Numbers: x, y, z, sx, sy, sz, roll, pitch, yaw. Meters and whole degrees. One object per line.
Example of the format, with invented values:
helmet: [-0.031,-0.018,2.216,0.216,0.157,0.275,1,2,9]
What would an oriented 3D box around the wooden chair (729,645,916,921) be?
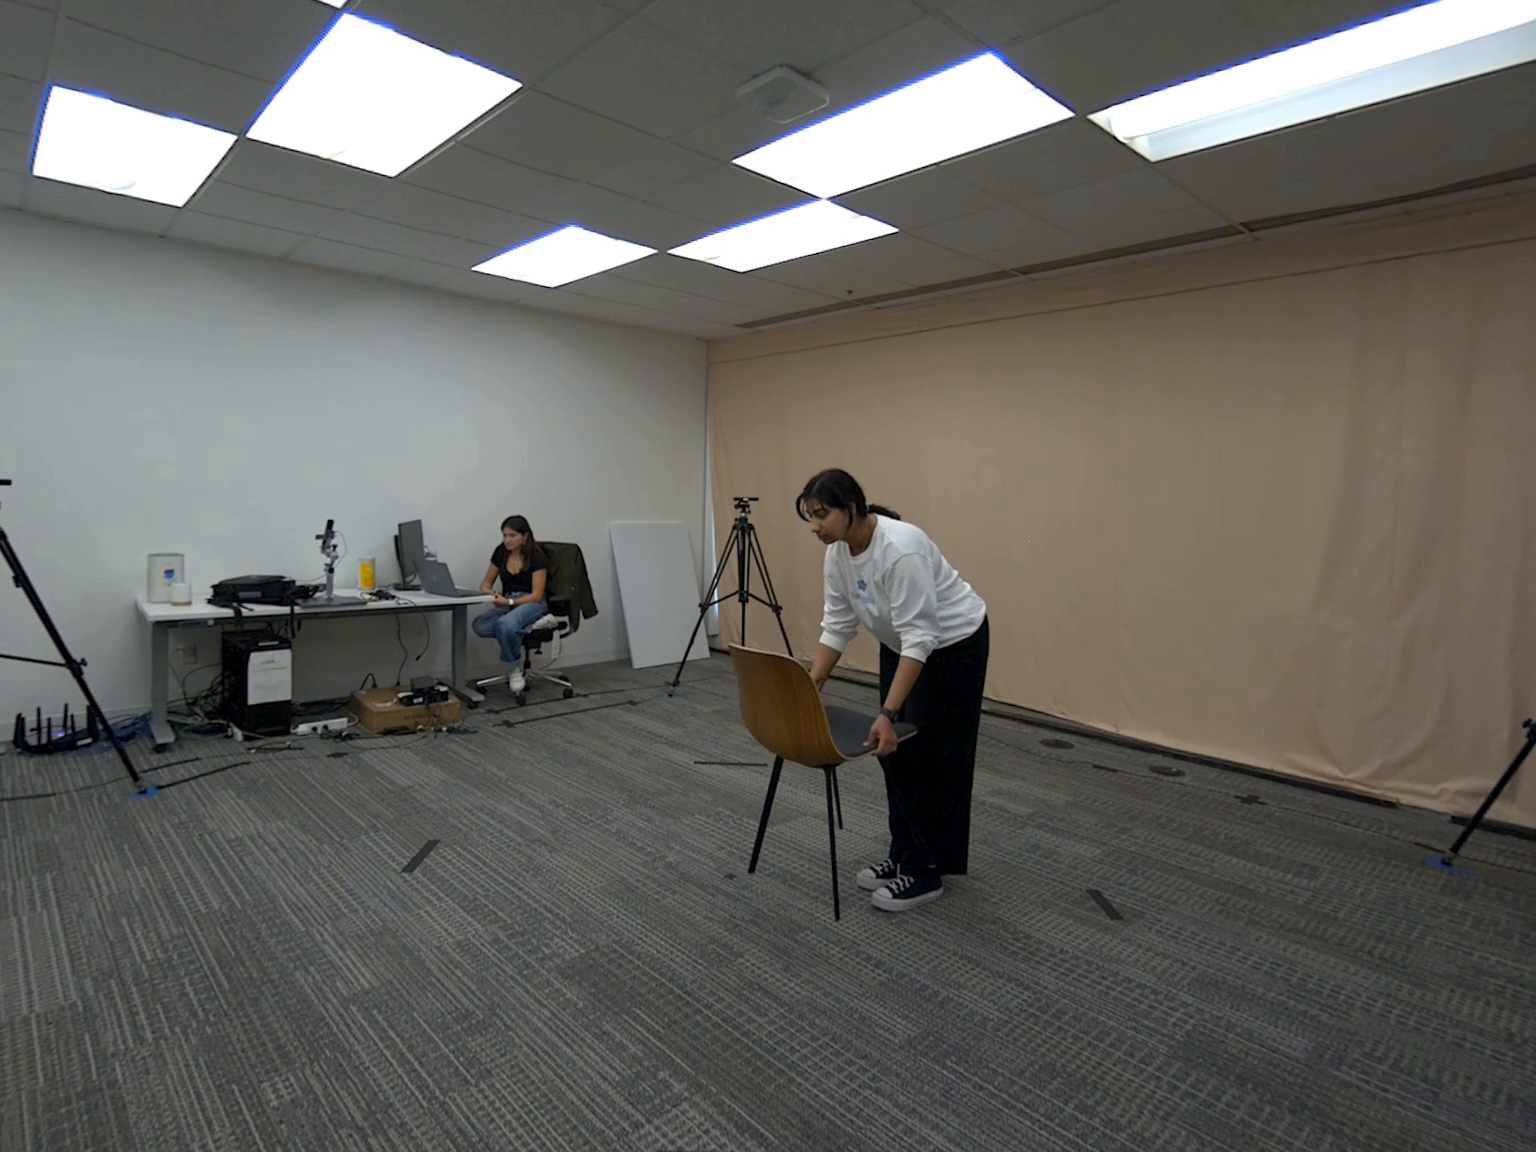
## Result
wooden chair: [0.194,0.582,2.824,0.515,0.870,0.489,-17,11,-36]
